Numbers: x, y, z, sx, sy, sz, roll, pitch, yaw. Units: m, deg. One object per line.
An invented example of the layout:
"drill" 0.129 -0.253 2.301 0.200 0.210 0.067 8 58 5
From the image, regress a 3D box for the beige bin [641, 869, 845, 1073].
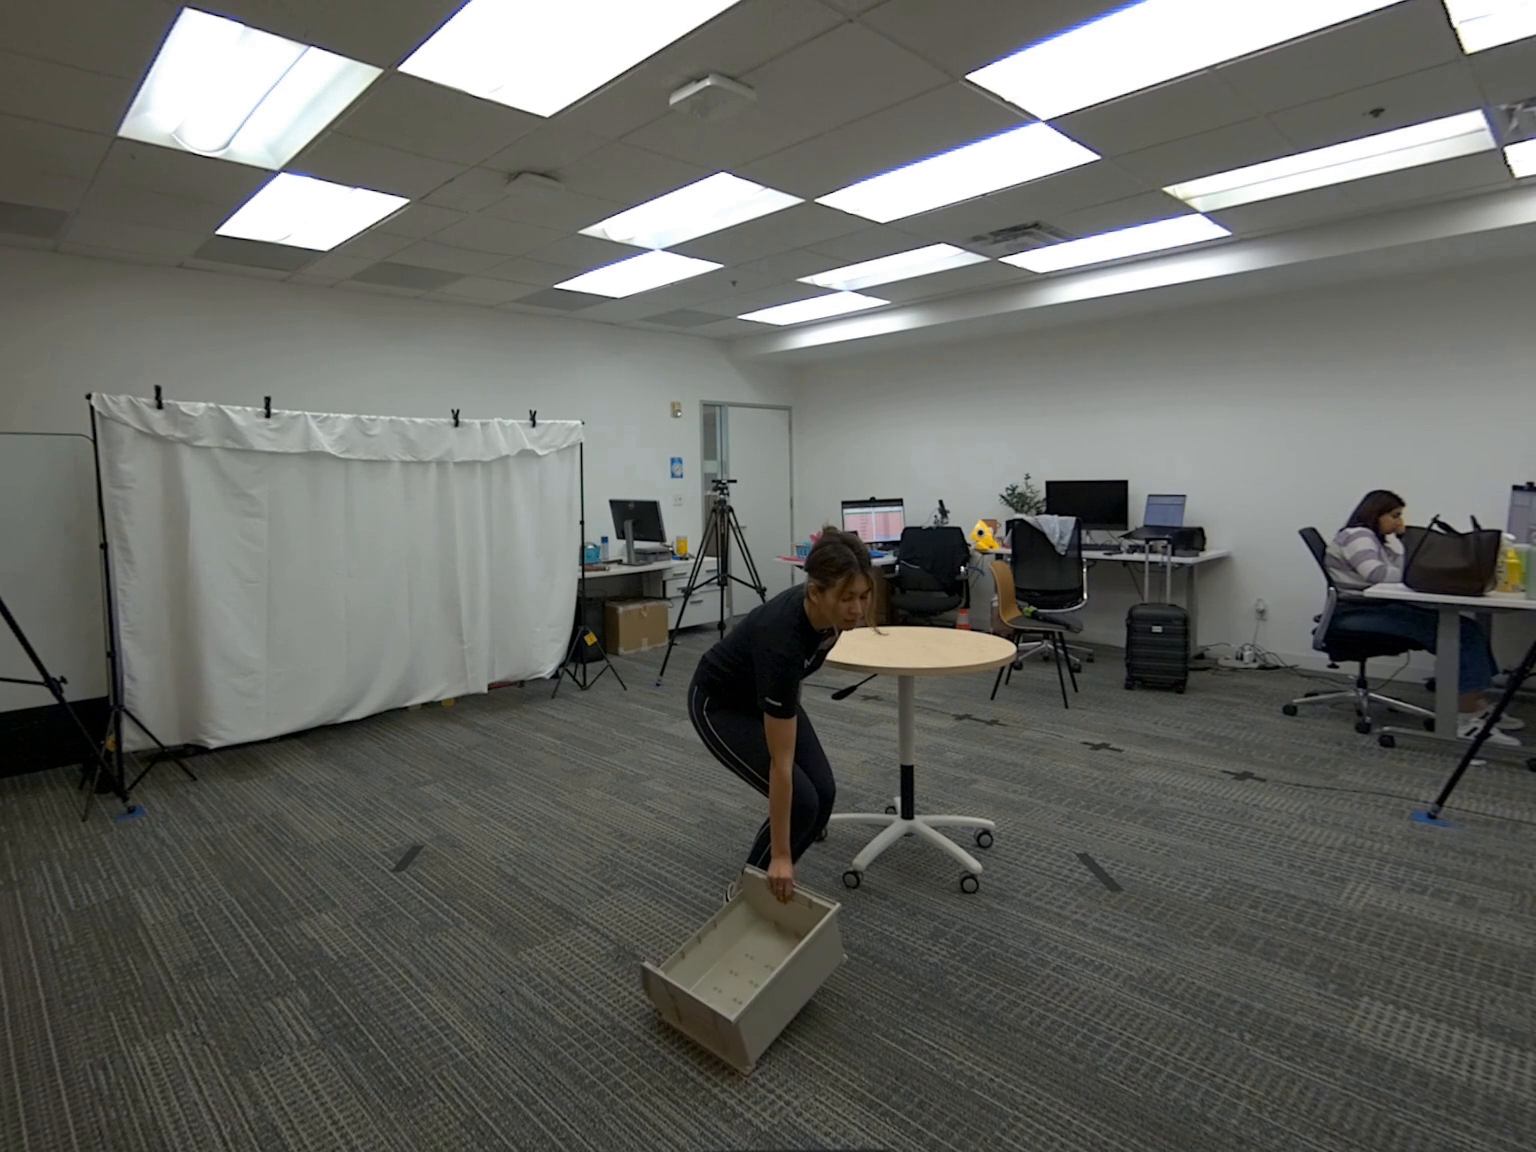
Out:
"beige bin" -0.061 1.009 2.235 0.389 0.185 0.417 6 26 44
